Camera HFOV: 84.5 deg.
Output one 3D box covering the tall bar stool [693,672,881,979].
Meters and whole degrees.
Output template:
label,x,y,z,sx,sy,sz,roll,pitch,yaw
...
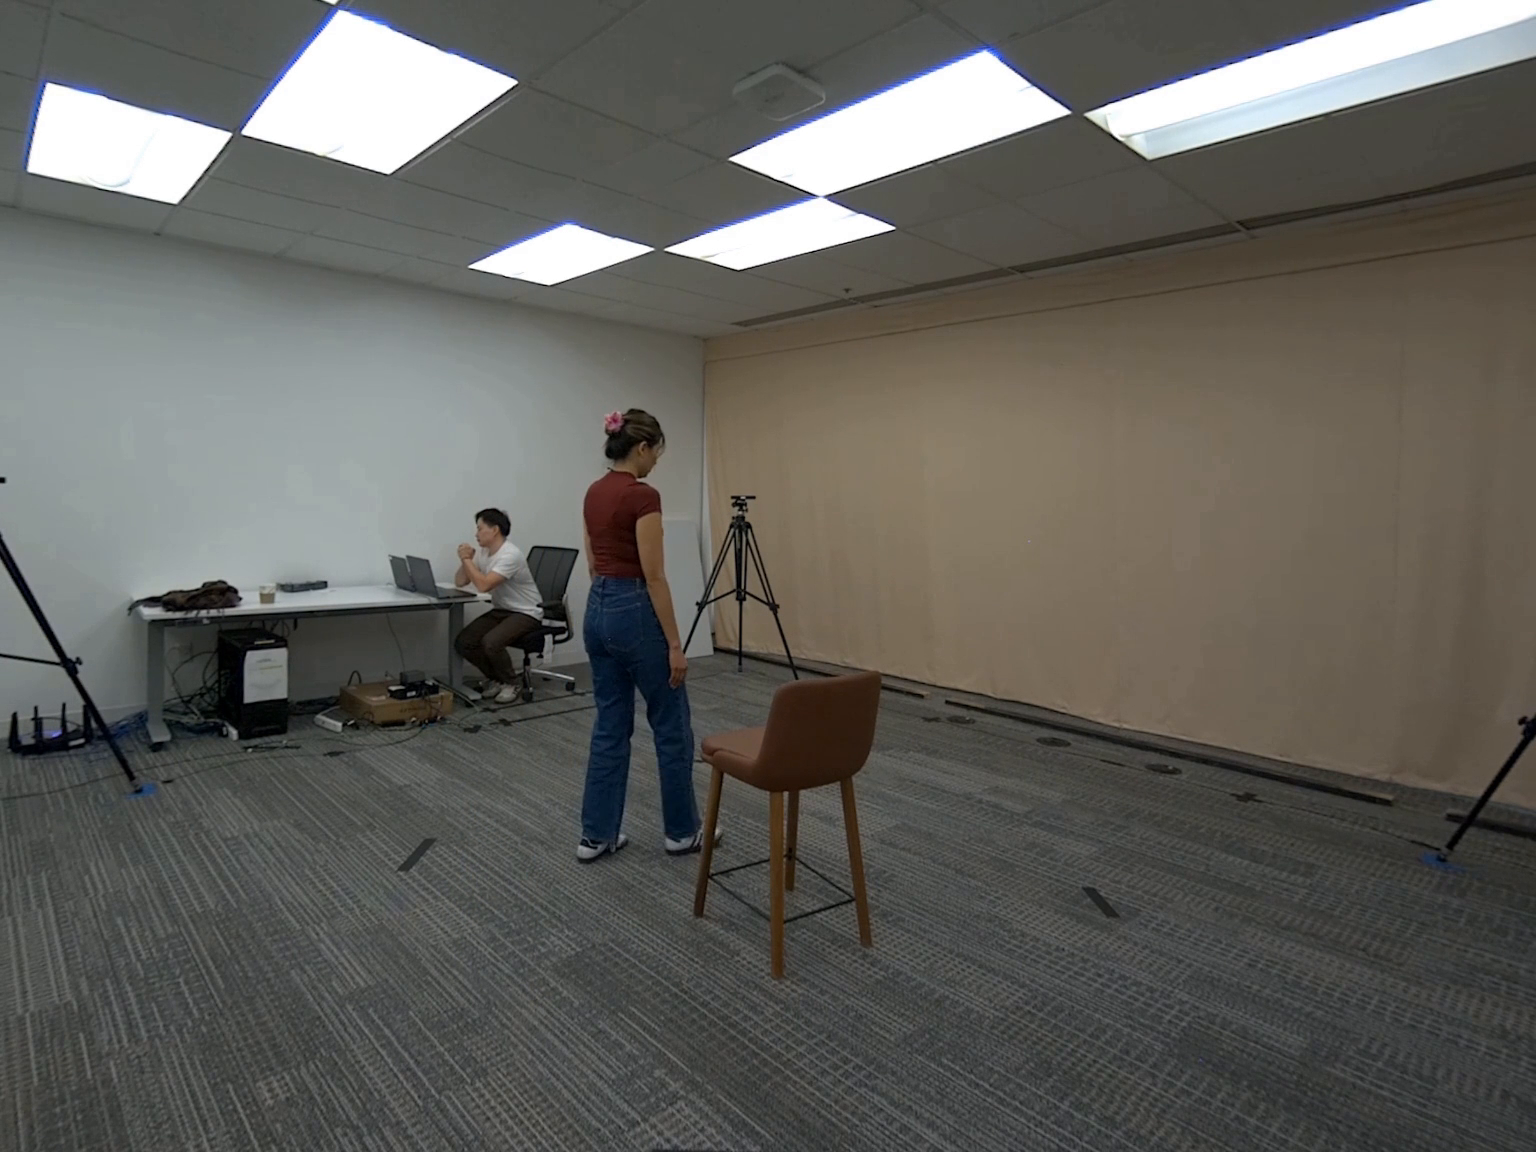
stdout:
label,x,y,z,sx,sy,sz,roll,pitch,yaw
tall bar stool,0.055,0.711,2.684,0.446,0.886,0.479,-1,6,-35
